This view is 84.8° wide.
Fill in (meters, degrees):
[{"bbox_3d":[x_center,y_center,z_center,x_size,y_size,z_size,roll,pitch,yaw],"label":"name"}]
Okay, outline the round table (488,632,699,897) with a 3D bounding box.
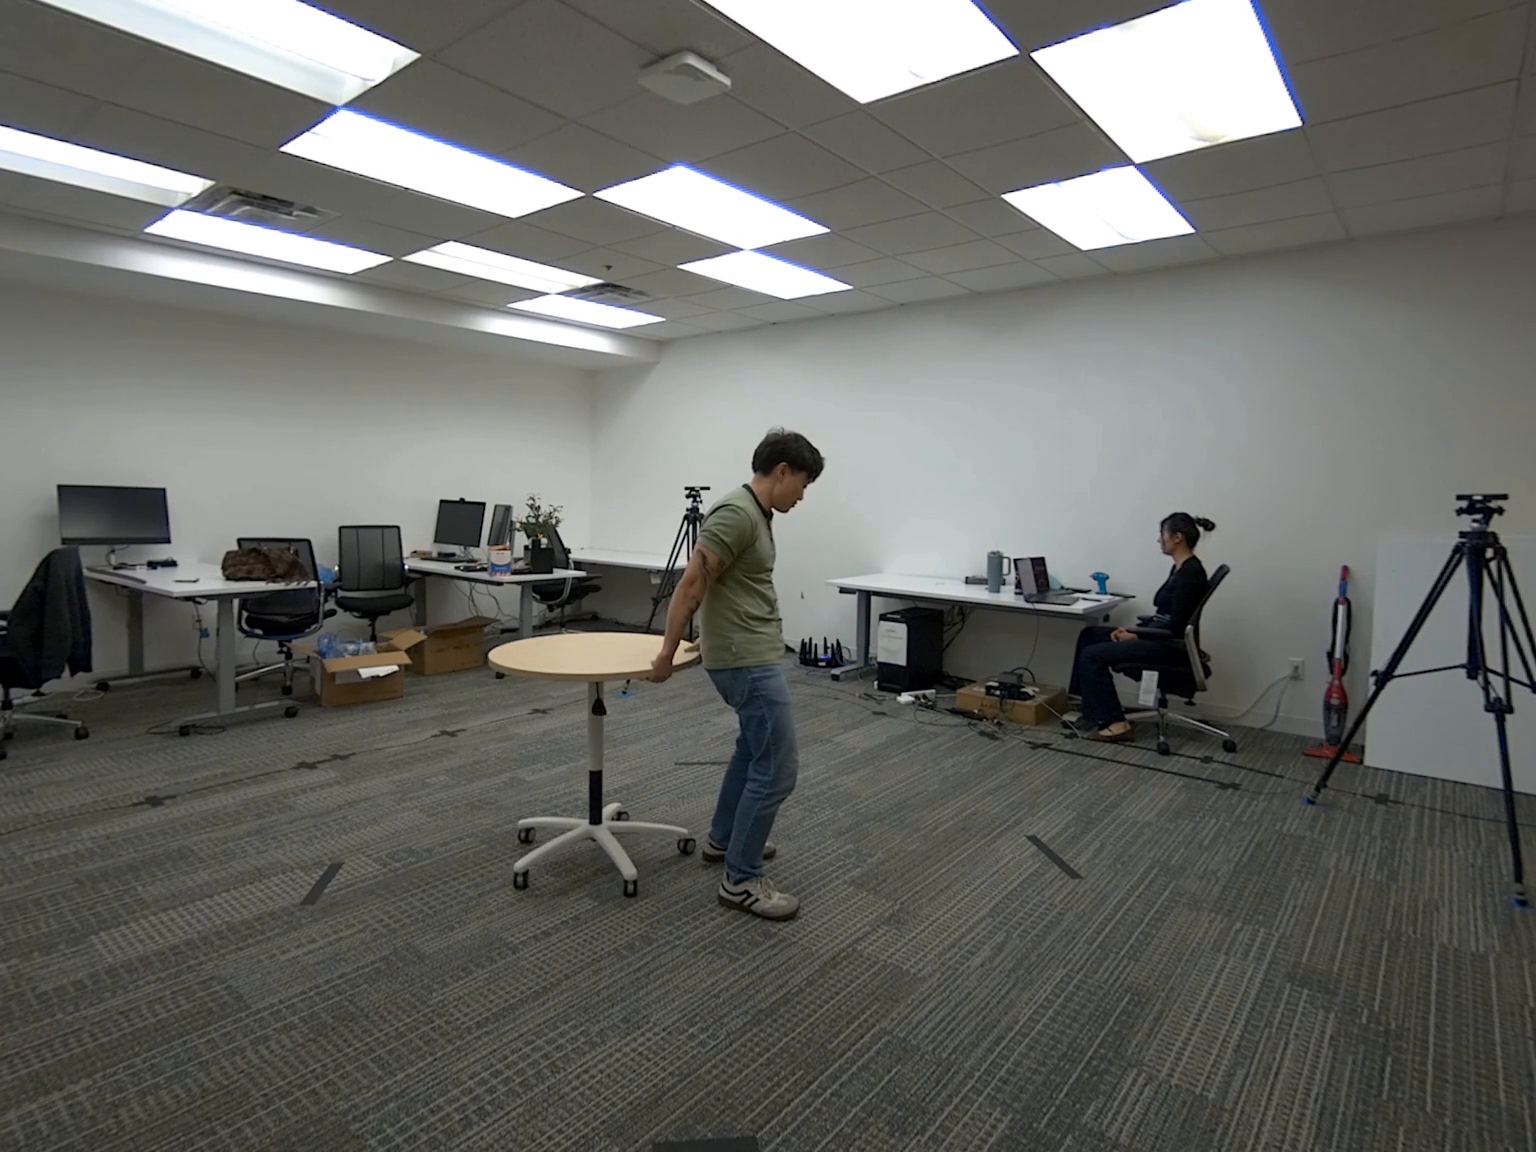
[{"bbox_3d":[-0.642,0.666,3.142,0.763,0.791,0.768,0,4,-2],"label":"round table"}]
